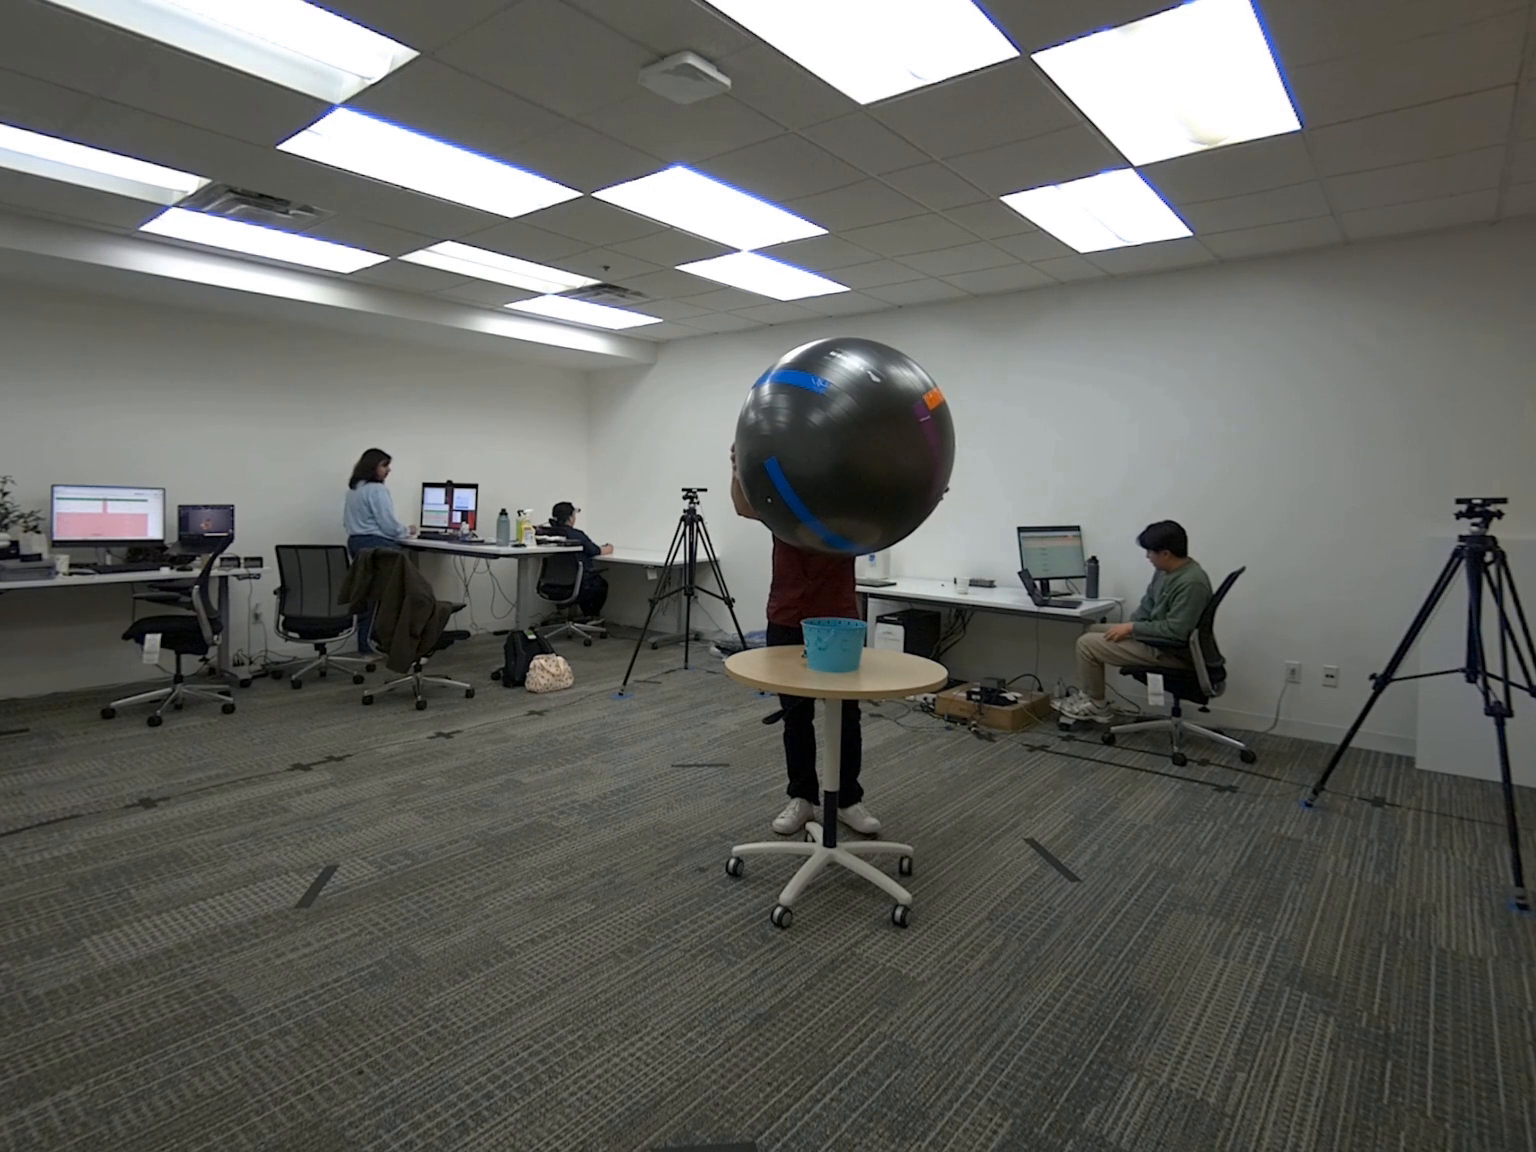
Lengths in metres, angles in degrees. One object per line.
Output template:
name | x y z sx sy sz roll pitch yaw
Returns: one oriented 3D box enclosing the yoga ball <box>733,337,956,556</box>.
yoga ball | 0.255 -0.442 2.961 0.757 0.756 0.761 1 4 -2
